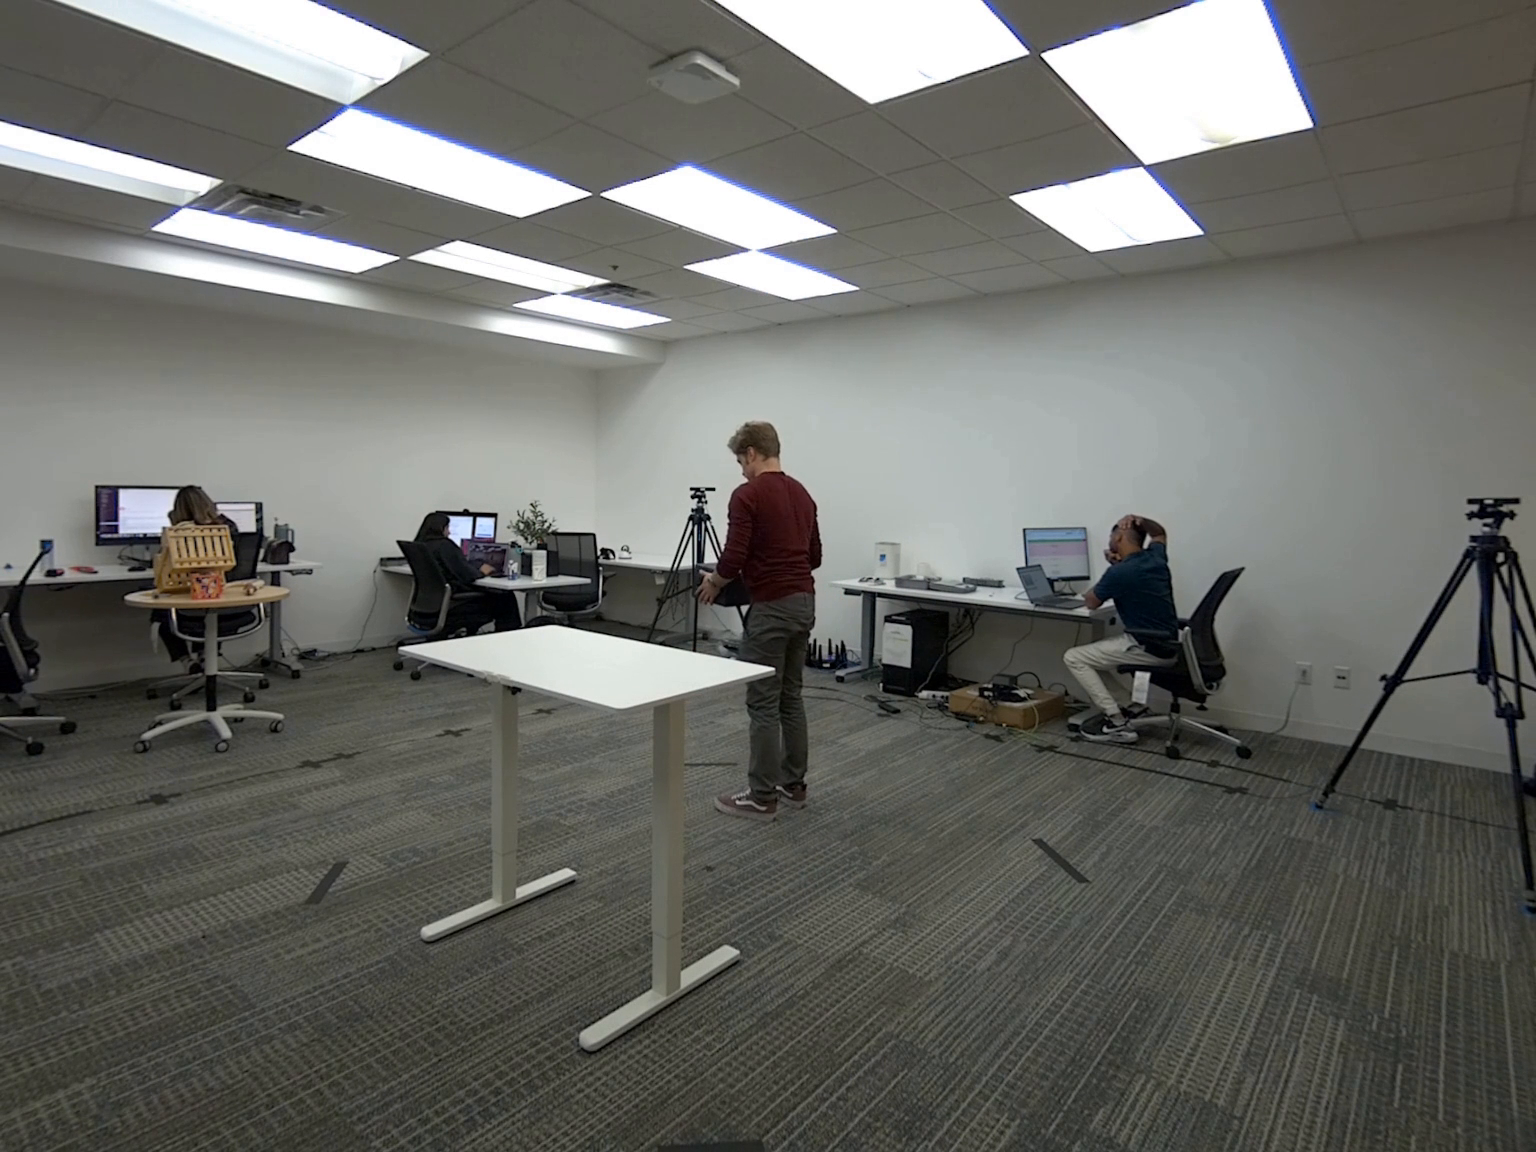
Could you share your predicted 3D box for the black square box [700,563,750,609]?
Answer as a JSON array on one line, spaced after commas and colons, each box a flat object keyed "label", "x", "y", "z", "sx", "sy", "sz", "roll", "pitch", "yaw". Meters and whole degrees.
[{"label": "black square box", "x": -0.197, "y": 0.033, "z": 3.909, "sx": 0.225, "sy": 0.155, "sz": 0.221, "roll": 14, "pitch": 12, "yaw": 43}]
